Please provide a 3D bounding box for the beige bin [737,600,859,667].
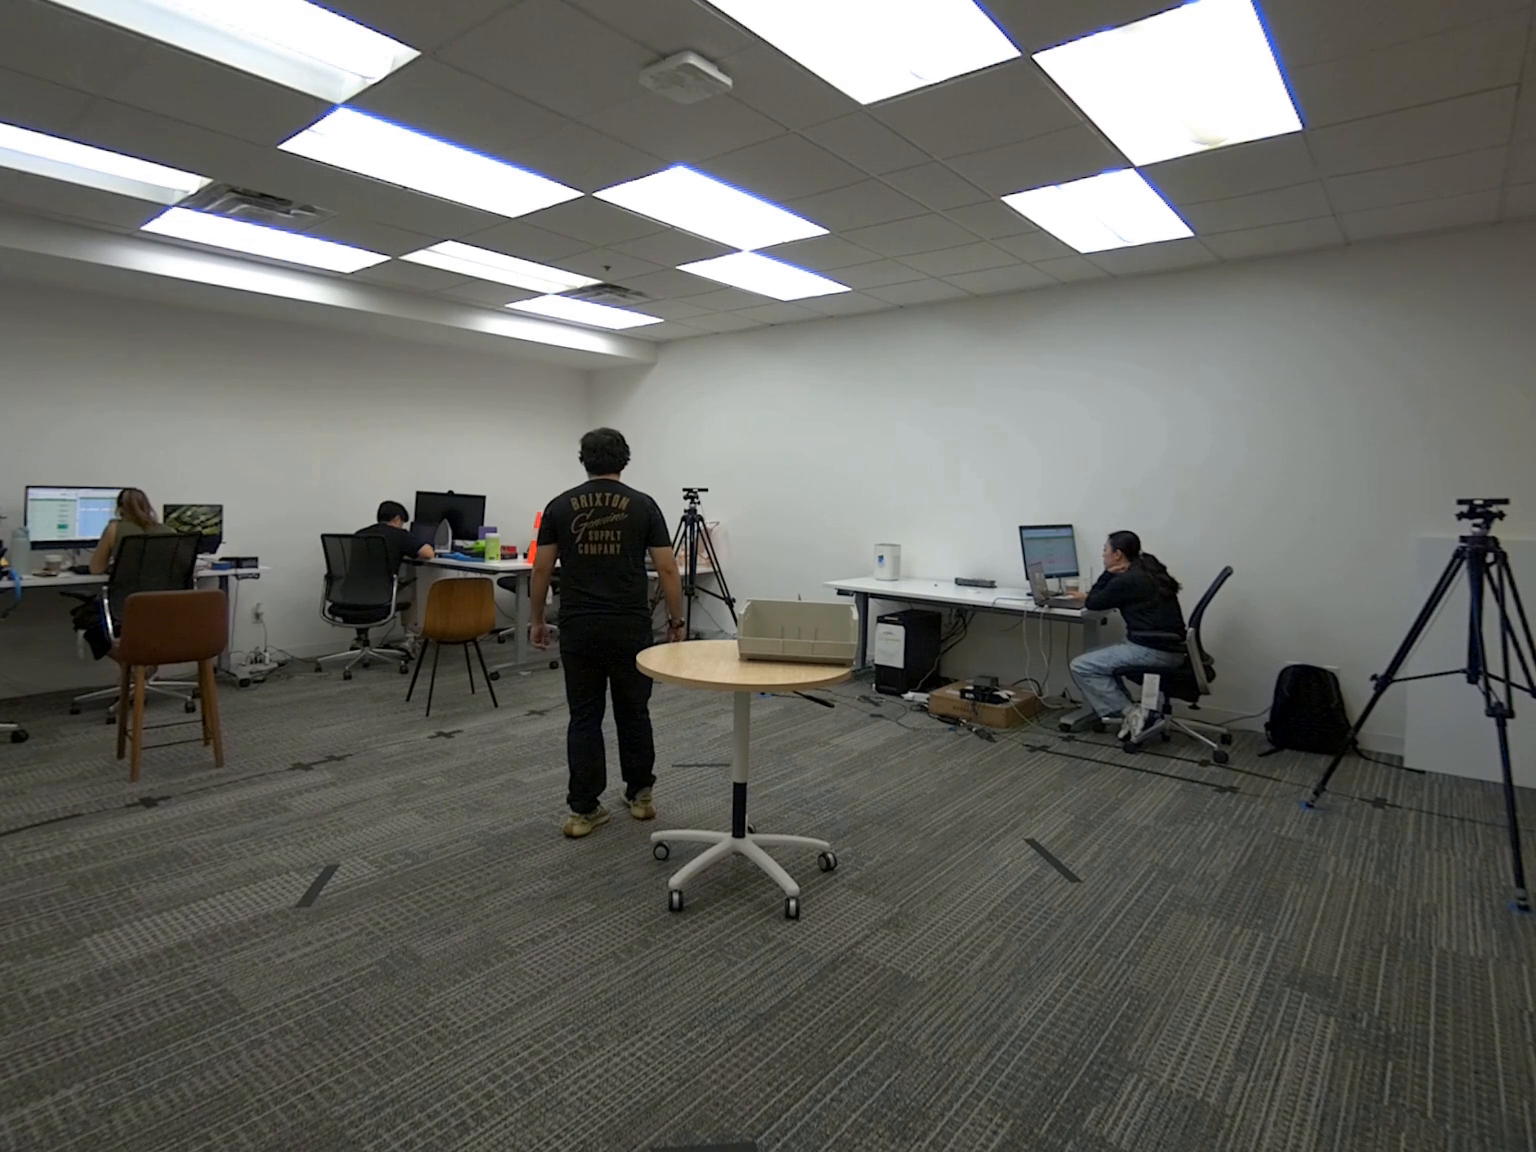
[{"bbox_3d":[0.108,0.208,3.122,0.426,0.188,0.376,2,5,6],"label":"beige bin"}]
